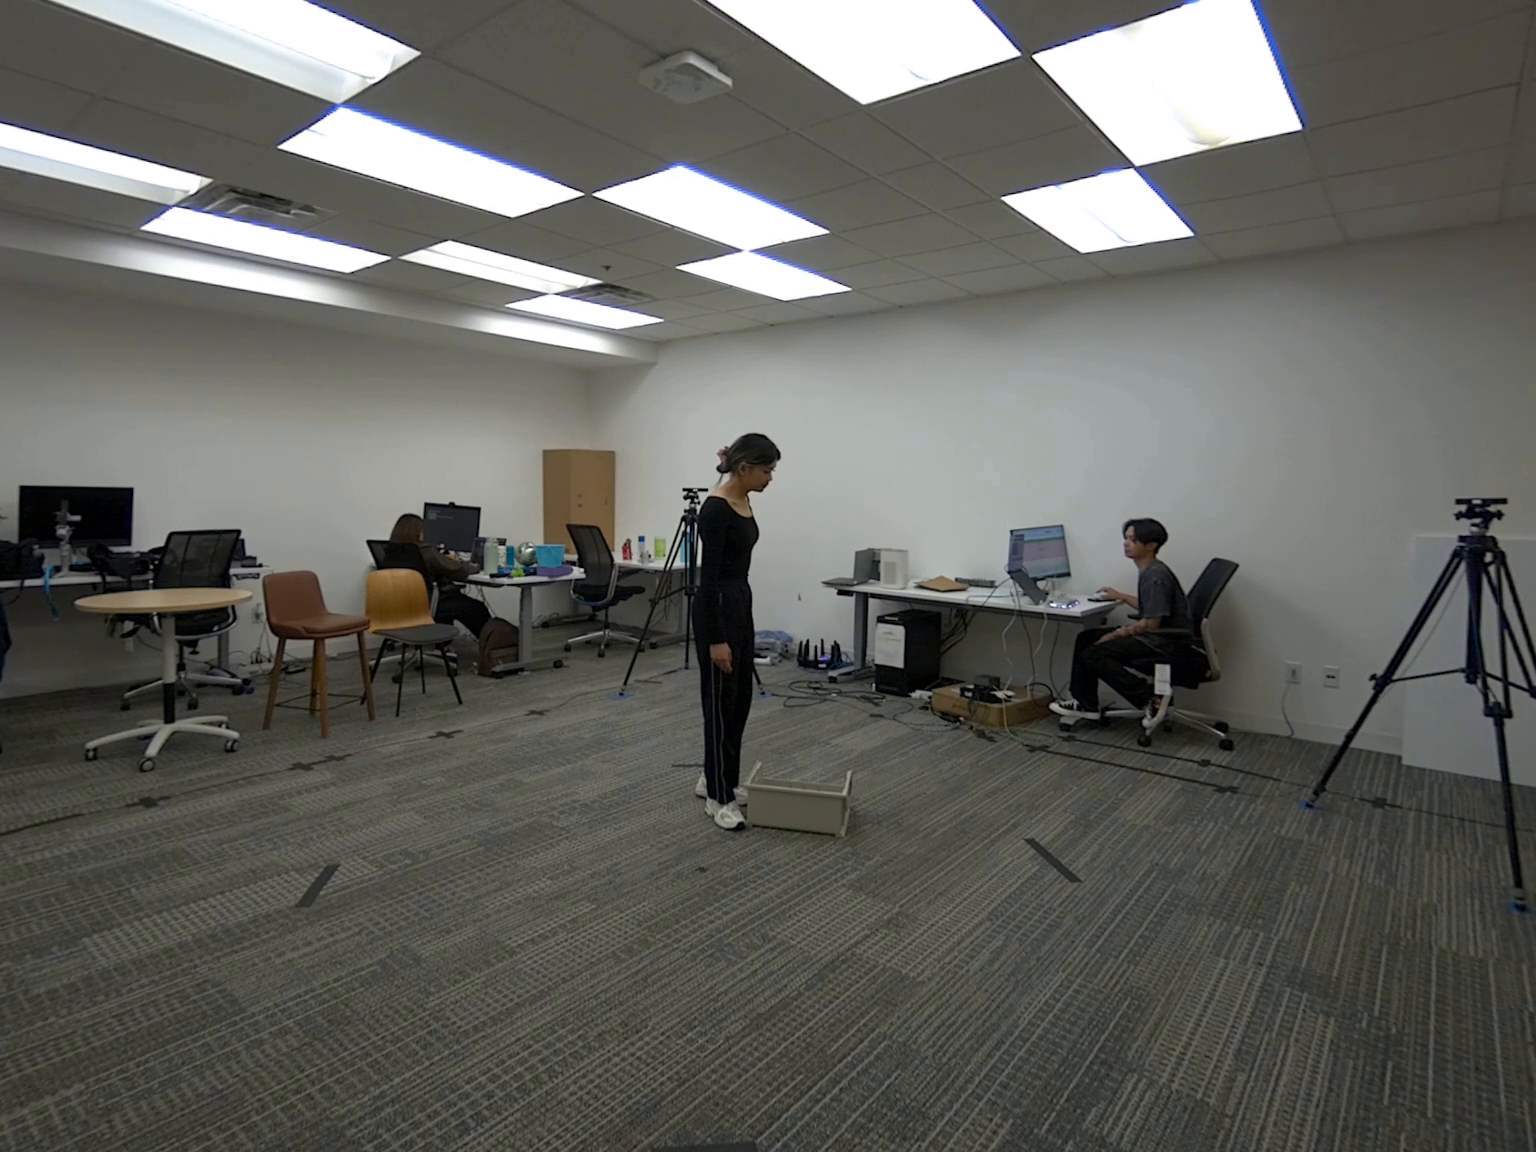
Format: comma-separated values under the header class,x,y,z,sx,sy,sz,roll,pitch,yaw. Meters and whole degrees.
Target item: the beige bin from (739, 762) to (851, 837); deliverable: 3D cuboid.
class,x,y,z,sx,sy,sz,roll,pitch,yaw
beige bin,0.123,0.934,3.637,0.428,0.188,0.374,3,6,12
